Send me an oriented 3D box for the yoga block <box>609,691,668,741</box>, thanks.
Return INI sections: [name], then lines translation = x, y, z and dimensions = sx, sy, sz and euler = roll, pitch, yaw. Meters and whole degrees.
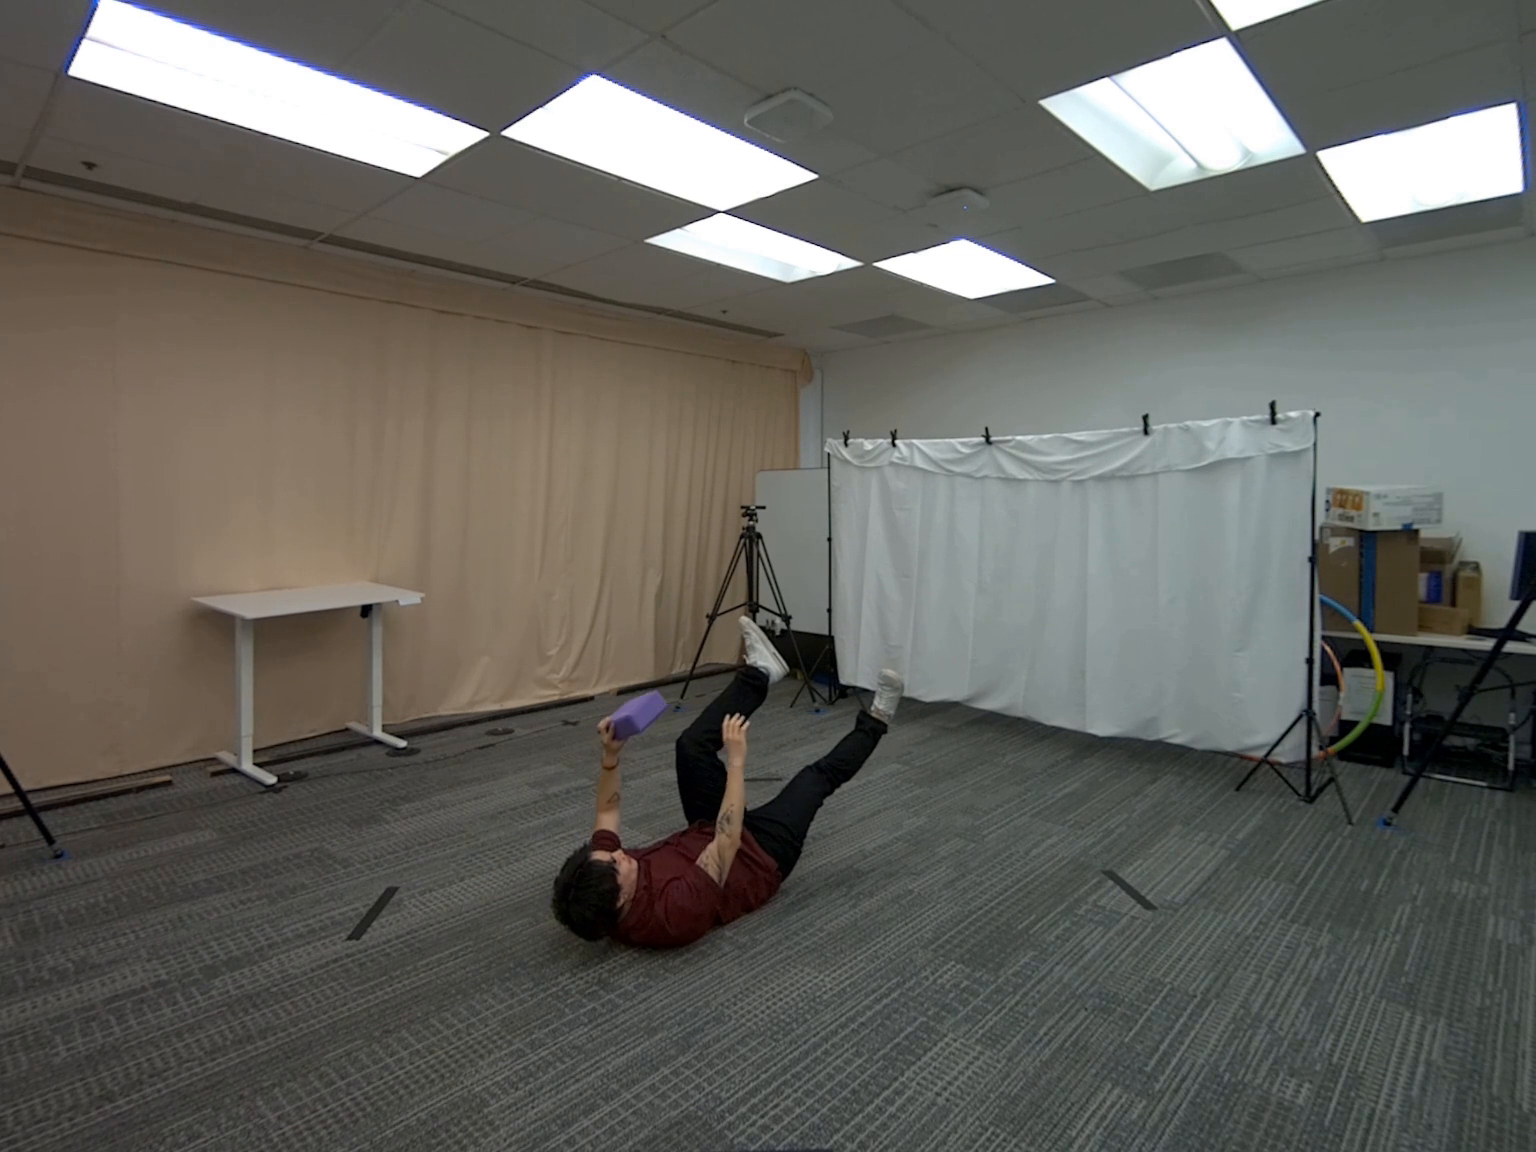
[yoga block]
translation = -0.462, 0.487, 2.898
dimensions = 0.233, 0.076, 0.147
euler = -27, 12, 50
